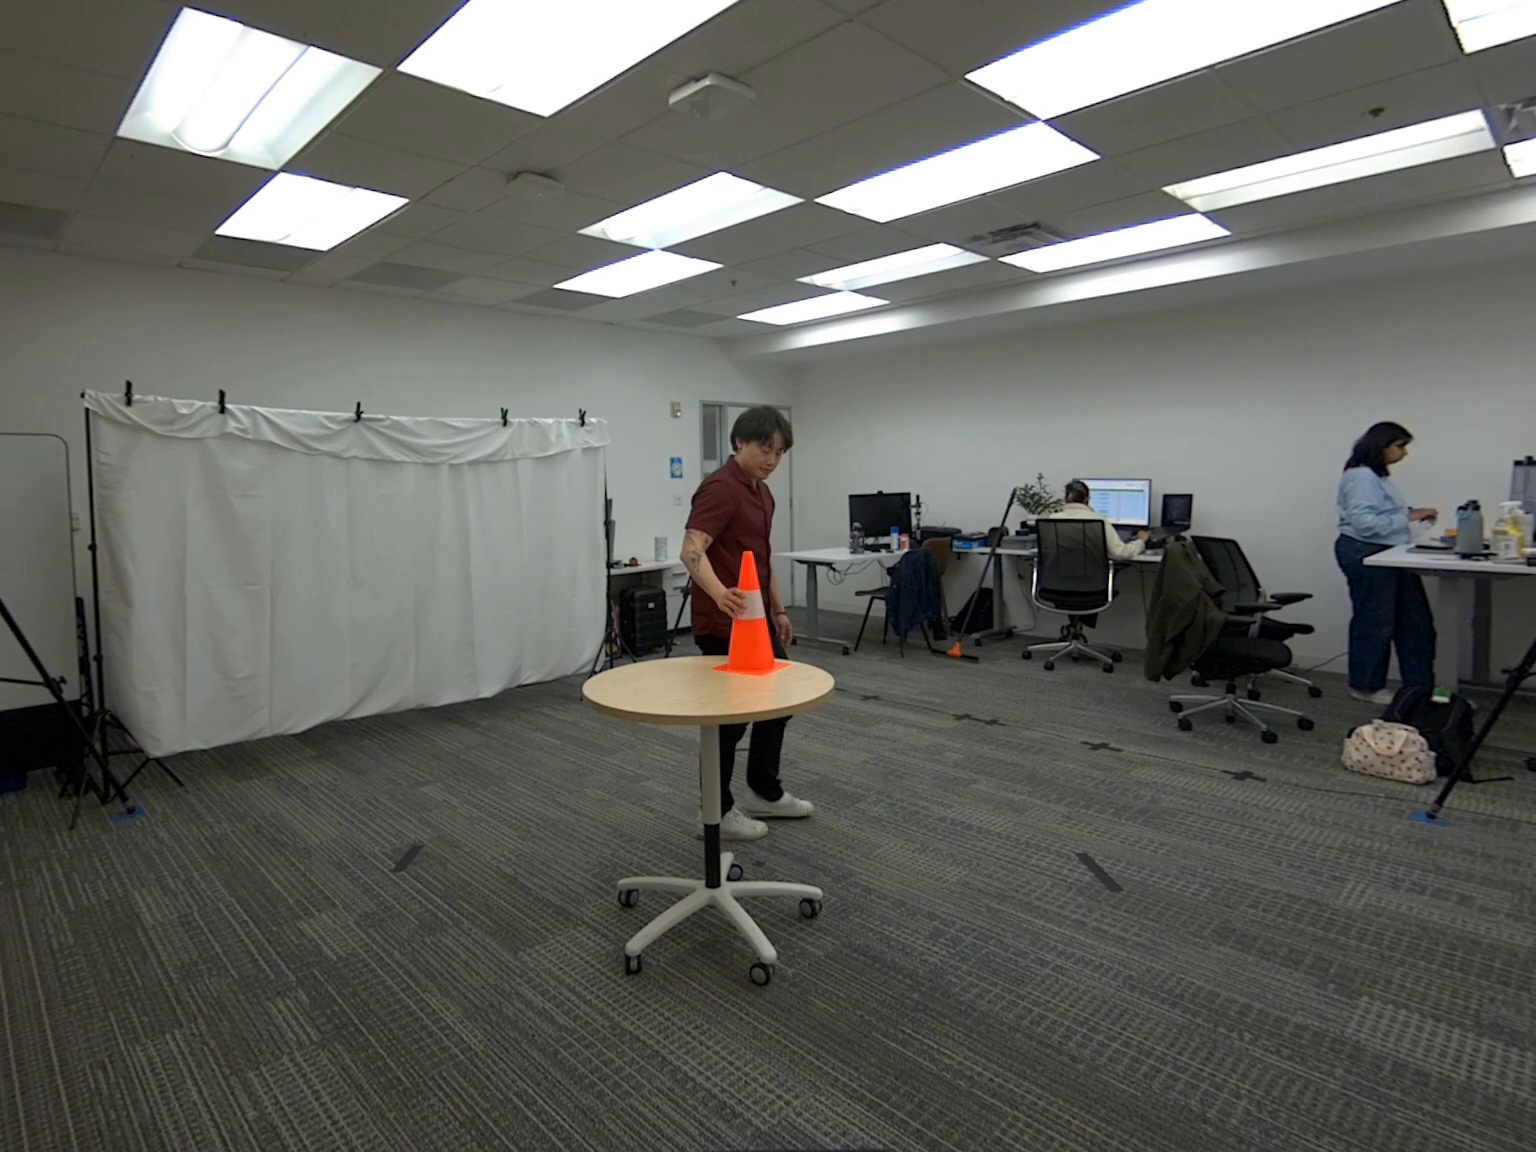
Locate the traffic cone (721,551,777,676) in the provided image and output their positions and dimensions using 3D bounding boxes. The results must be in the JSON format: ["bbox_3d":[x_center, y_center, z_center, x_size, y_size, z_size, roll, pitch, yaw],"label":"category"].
[{"bbox_3d":[-0.067,0.109,2.794,0.210,0.382,0.199,1,4,30],"label":"traffic cone"}]
